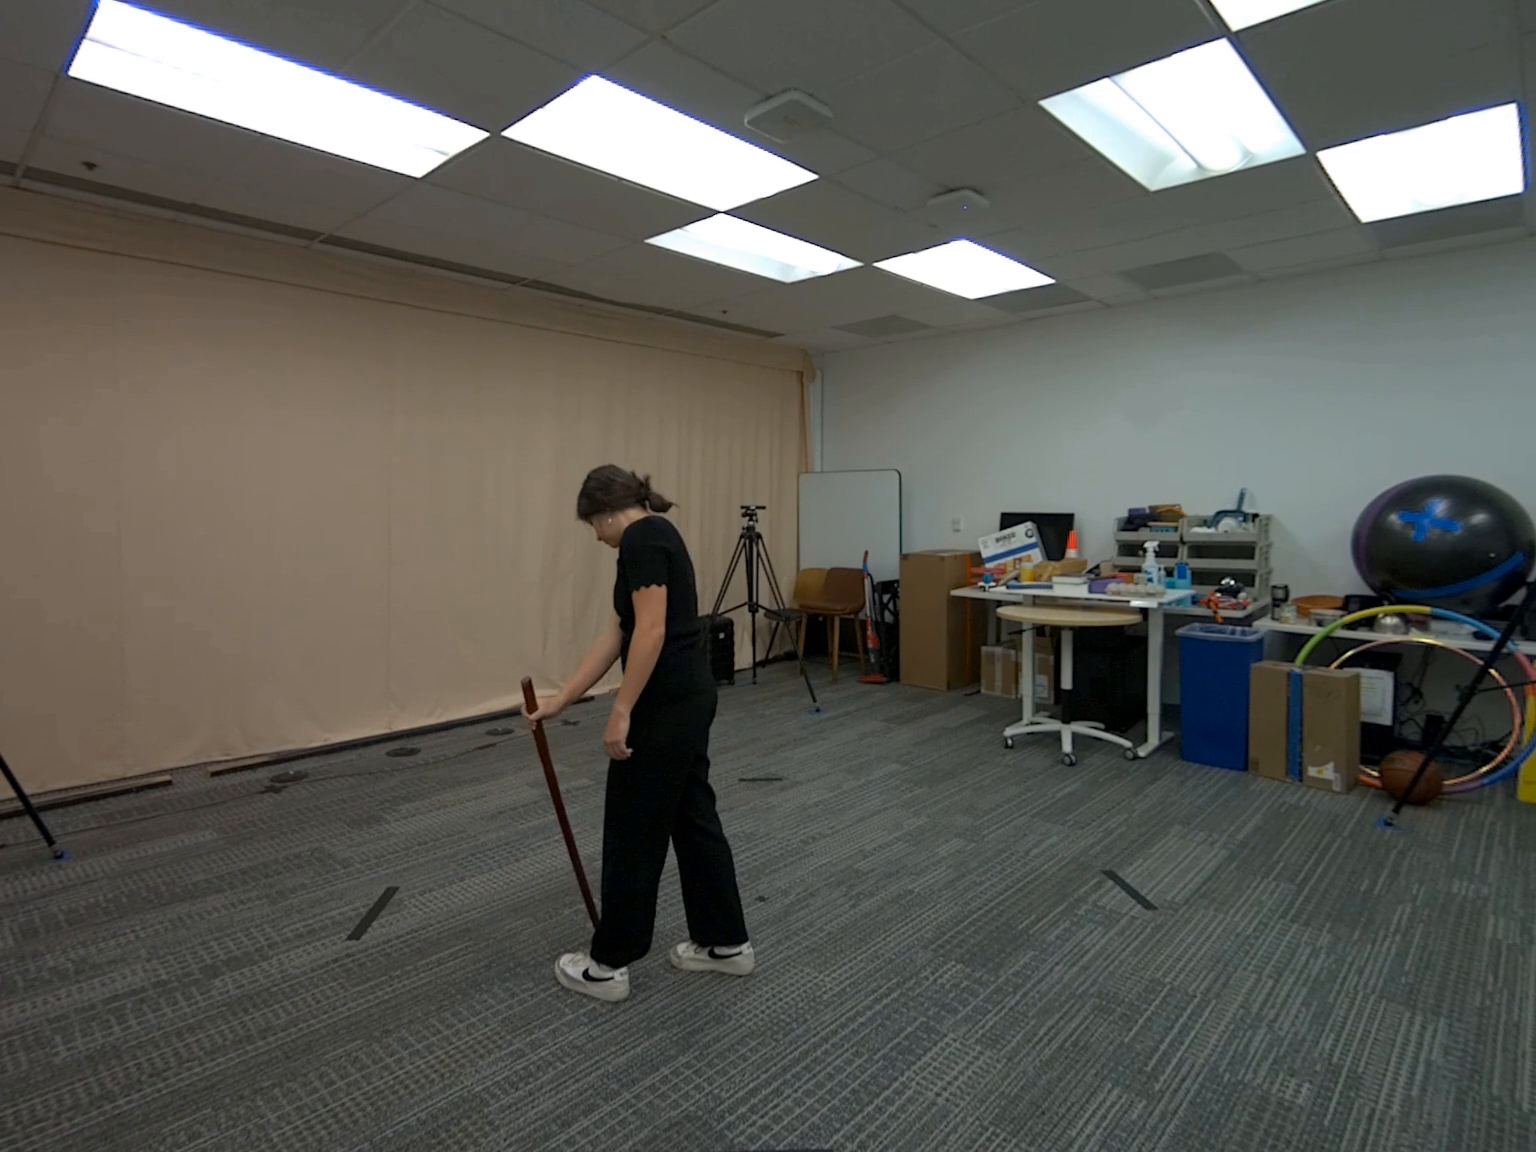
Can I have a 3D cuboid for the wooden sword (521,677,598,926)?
[{"bbox_3d":[-0.601,0.734,2.484,0.024,1.006,0.052,-8,27,-1],"label":"wooden sword"}]
